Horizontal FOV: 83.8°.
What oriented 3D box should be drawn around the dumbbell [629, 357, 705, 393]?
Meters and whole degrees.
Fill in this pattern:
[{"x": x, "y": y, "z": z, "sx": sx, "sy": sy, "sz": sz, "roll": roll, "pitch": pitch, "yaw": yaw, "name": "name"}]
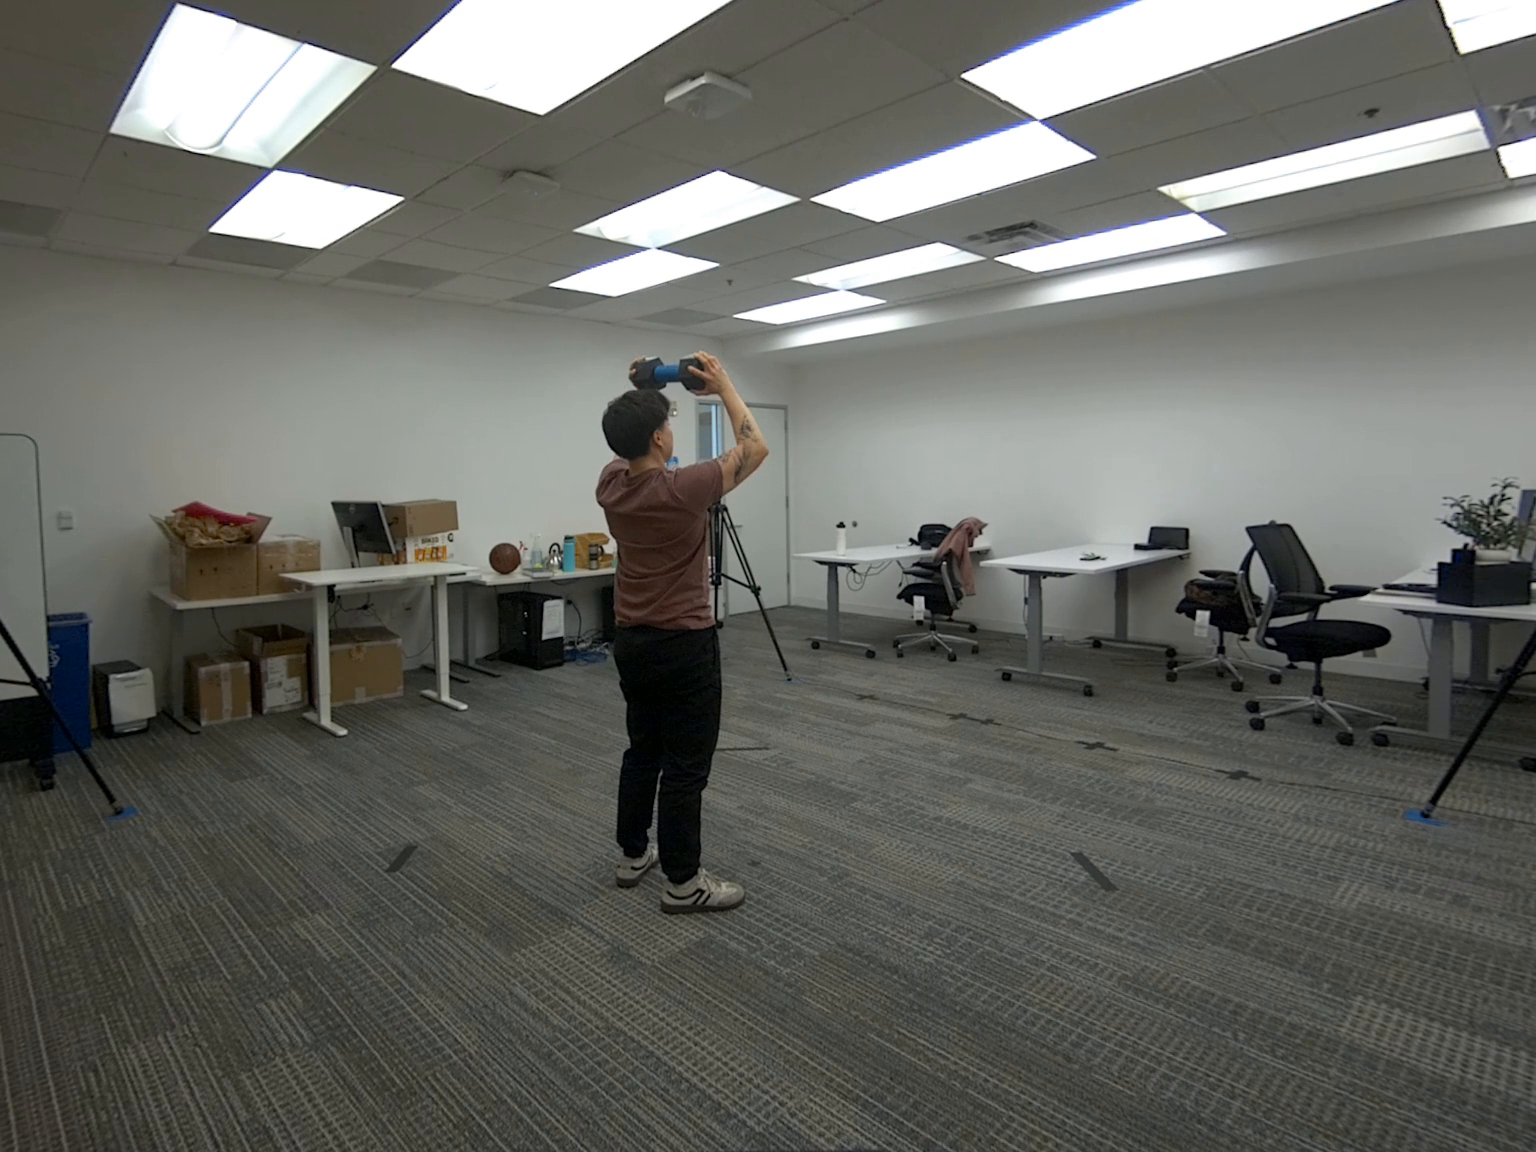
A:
[{"x": -0.319, "y": -0.677, "z": 2.860, "sx": 0.303, "sy": 0.109, "sz": 0.118, "roll": 7, "pitch": -30, "yaw": 39, "name": "dumbbell"}]
